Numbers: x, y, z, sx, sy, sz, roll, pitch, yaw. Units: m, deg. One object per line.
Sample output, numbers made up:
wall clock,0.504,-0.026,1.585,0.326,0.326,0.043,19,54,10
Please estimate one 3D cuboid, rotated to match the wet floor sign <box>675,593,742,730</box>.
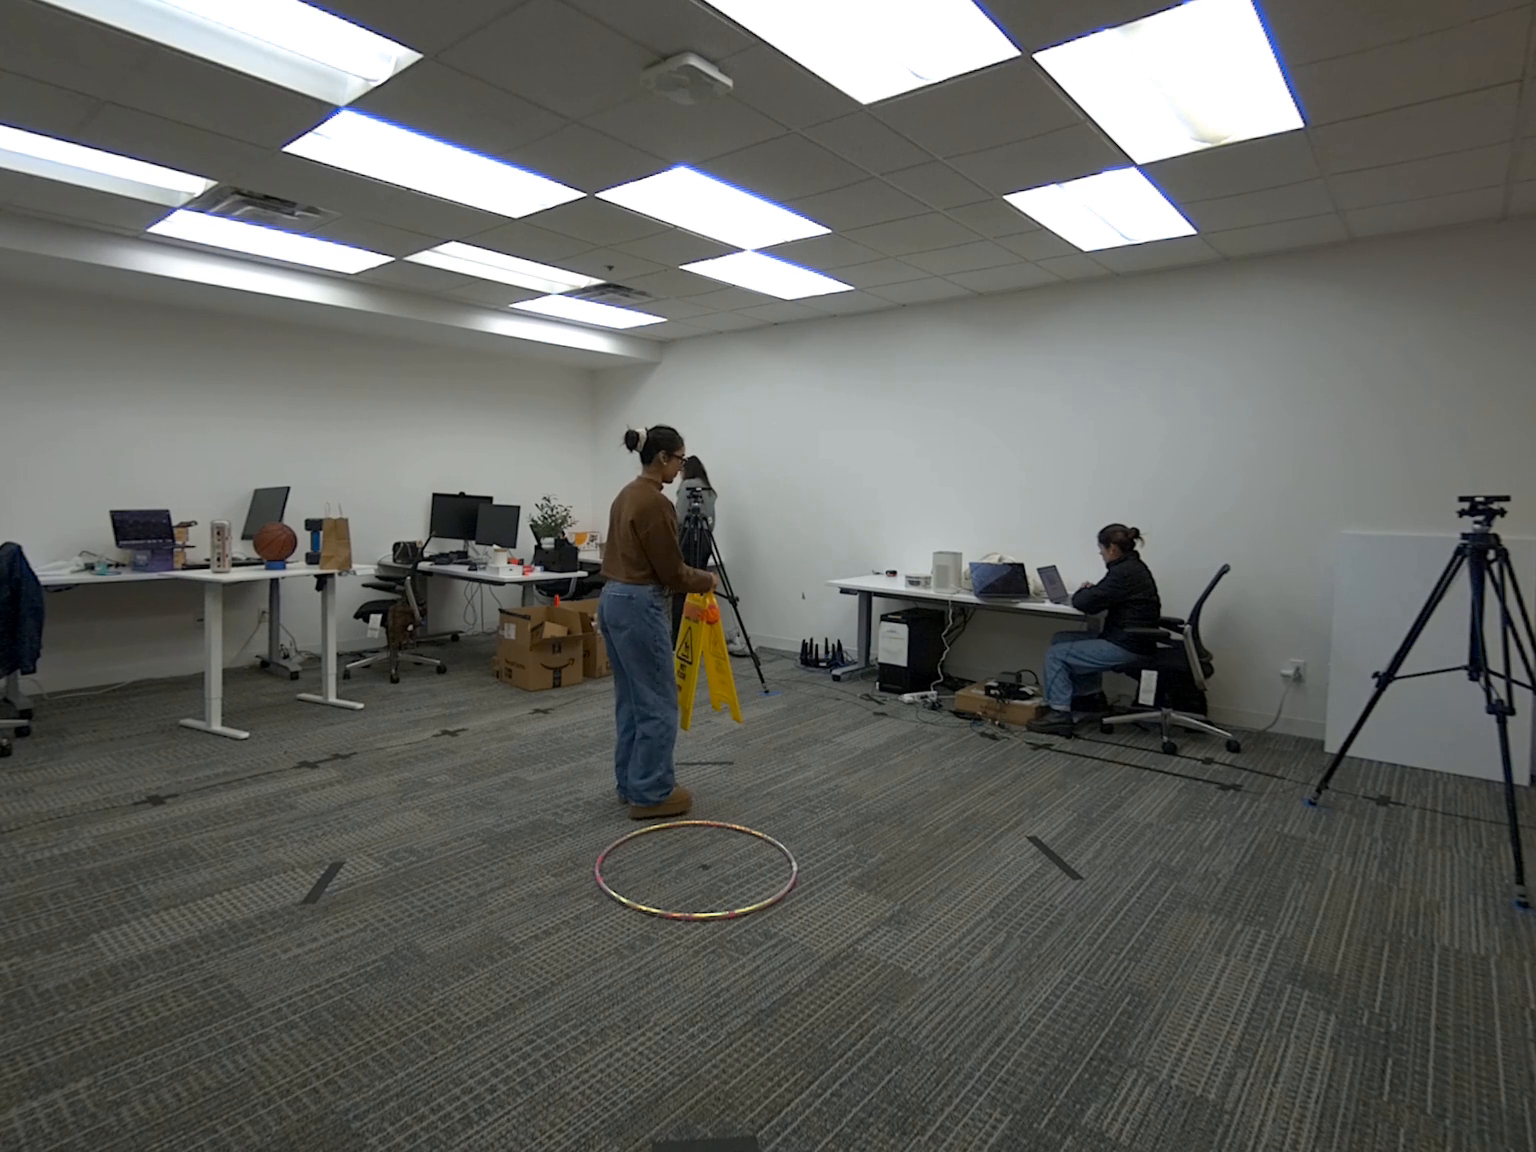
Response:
wet floor sign,-0.317,0.338,3.868,0.282,0.643,0.291,-2,6,-30
